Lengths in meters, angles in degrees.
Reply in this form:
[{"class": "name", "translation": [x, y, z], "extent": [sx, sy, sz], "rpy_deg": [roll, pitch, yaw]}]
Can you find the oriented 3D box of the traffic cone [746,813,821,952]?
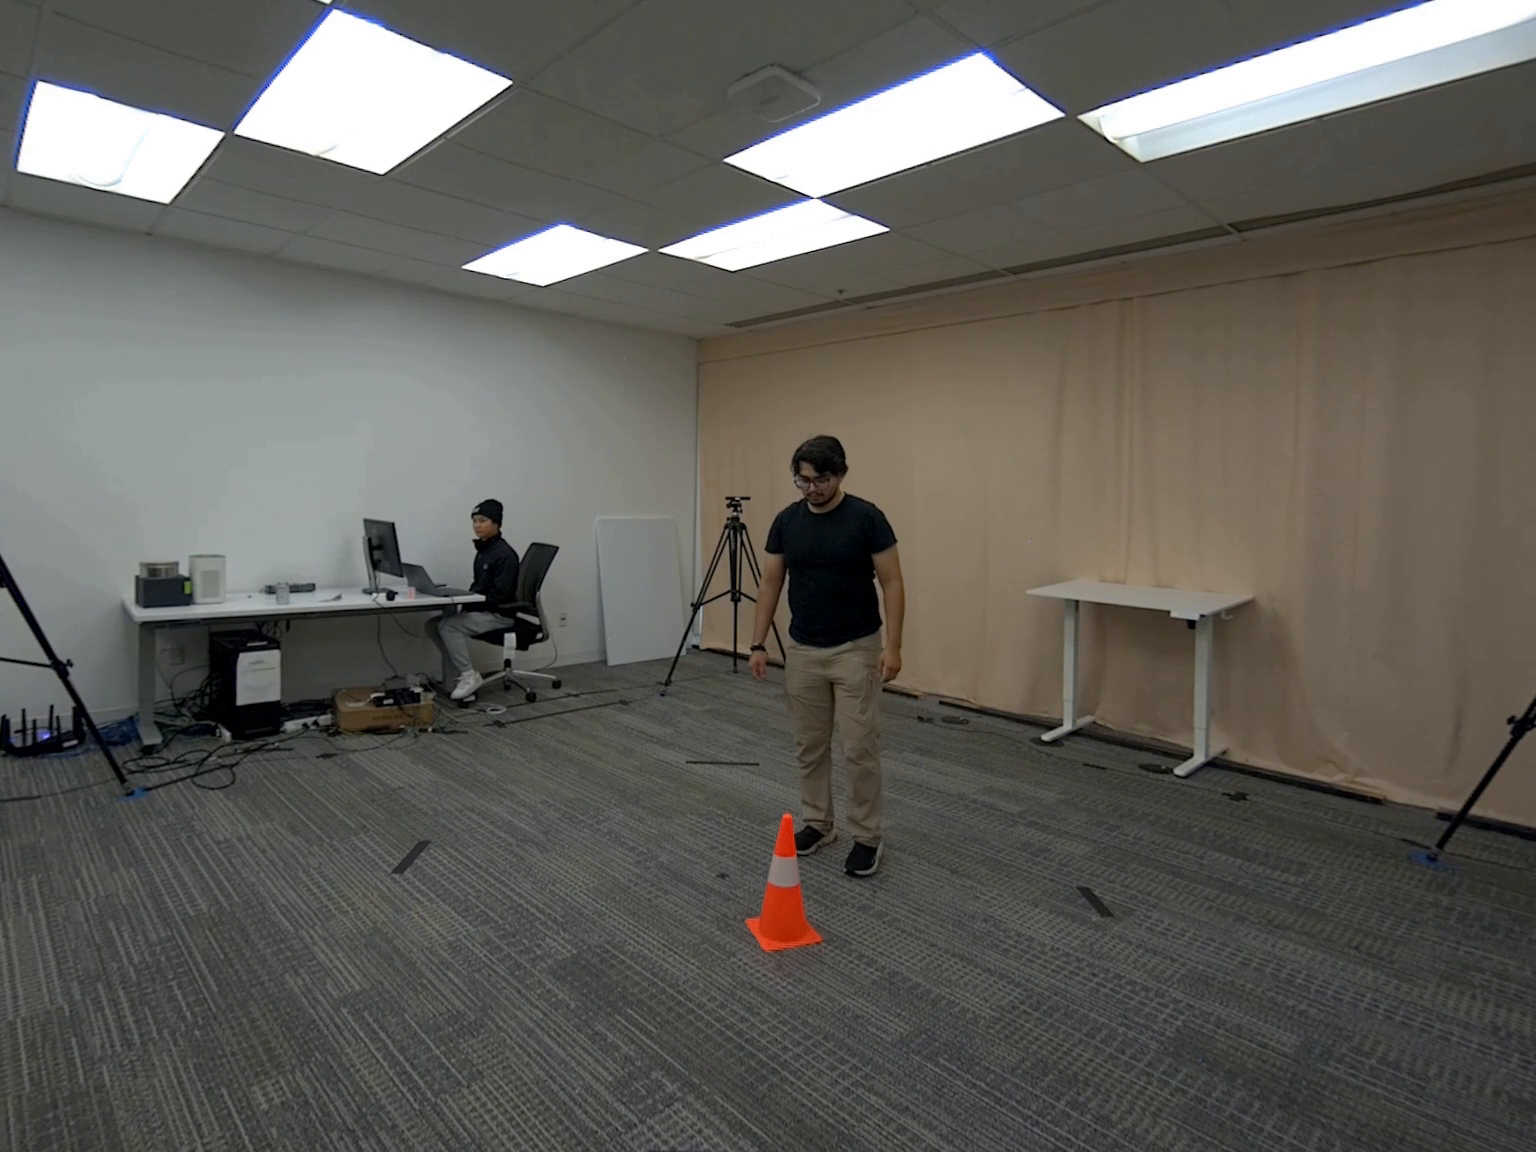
[{"class": "traffic cone", "translation": [0.052, 0.963, 2.705], "extent": [0.201, 0.383, 0.207], "rpy_deg": [2, 3, -22]}]
